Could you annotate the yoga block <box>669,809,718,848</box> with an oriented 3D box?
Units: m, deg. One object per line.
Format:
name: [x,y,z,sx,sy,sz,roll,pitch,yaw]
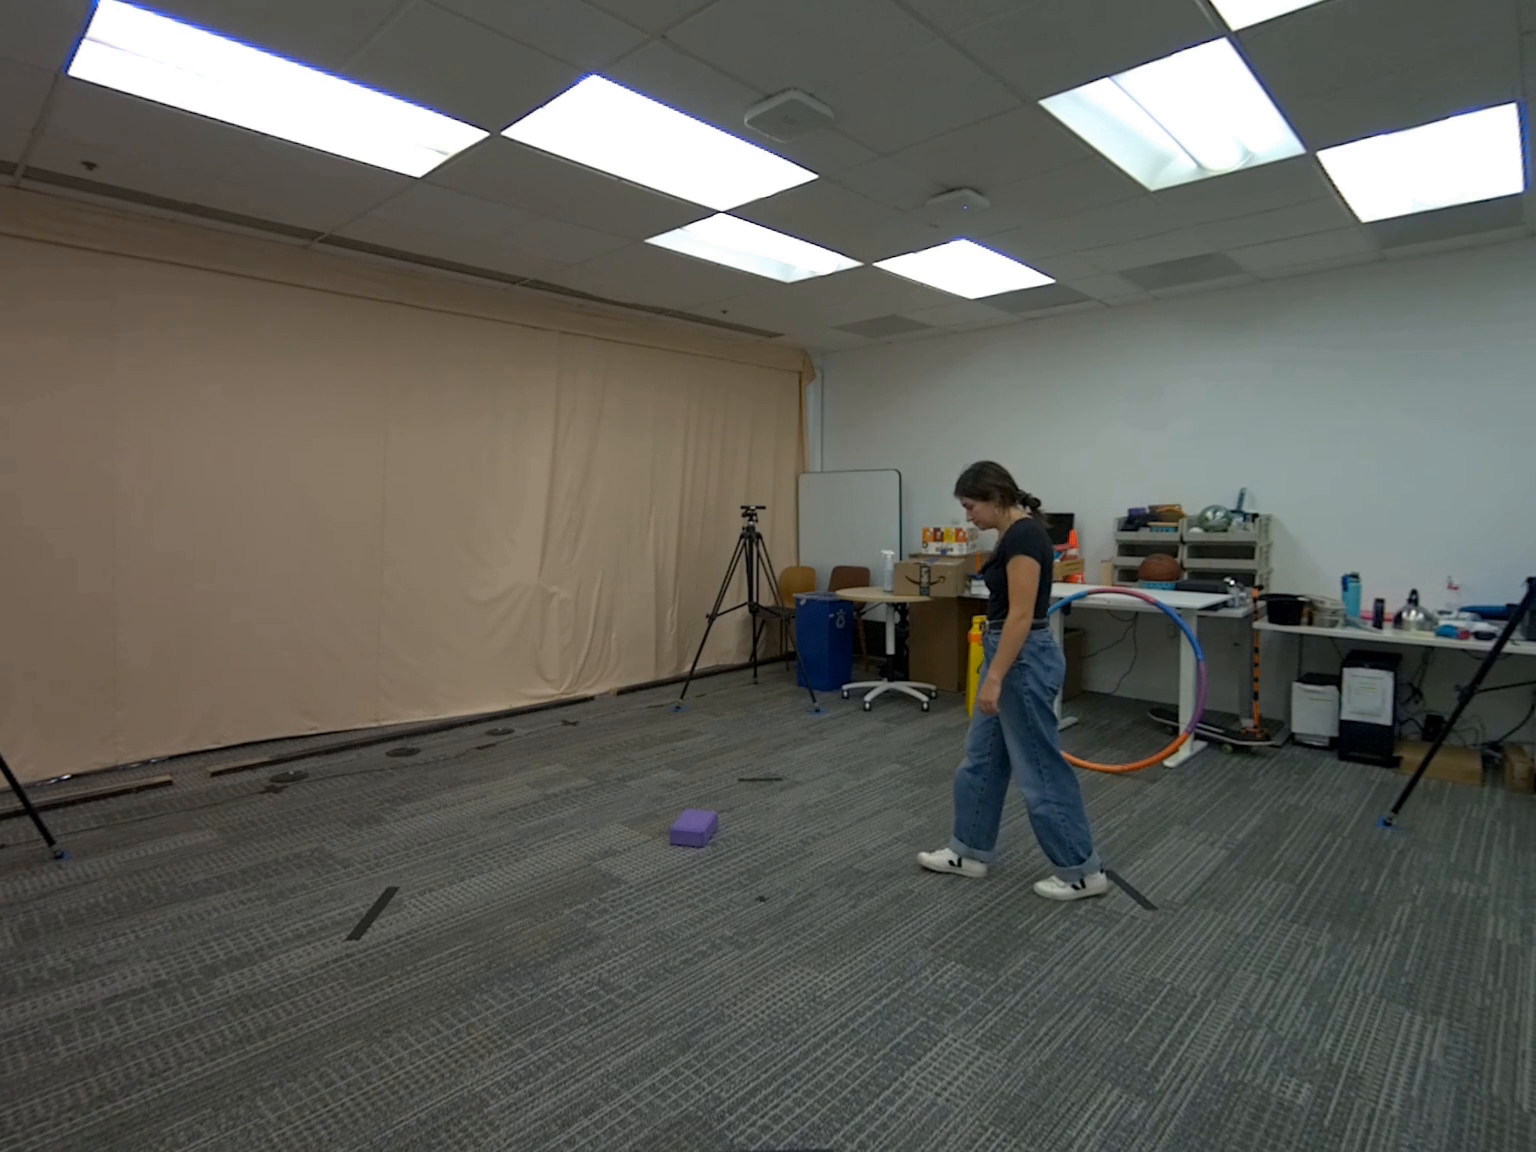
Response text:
yoga block: [-0.306,1.059,3.543,0.151,0.076,0.226,2,6,13]
